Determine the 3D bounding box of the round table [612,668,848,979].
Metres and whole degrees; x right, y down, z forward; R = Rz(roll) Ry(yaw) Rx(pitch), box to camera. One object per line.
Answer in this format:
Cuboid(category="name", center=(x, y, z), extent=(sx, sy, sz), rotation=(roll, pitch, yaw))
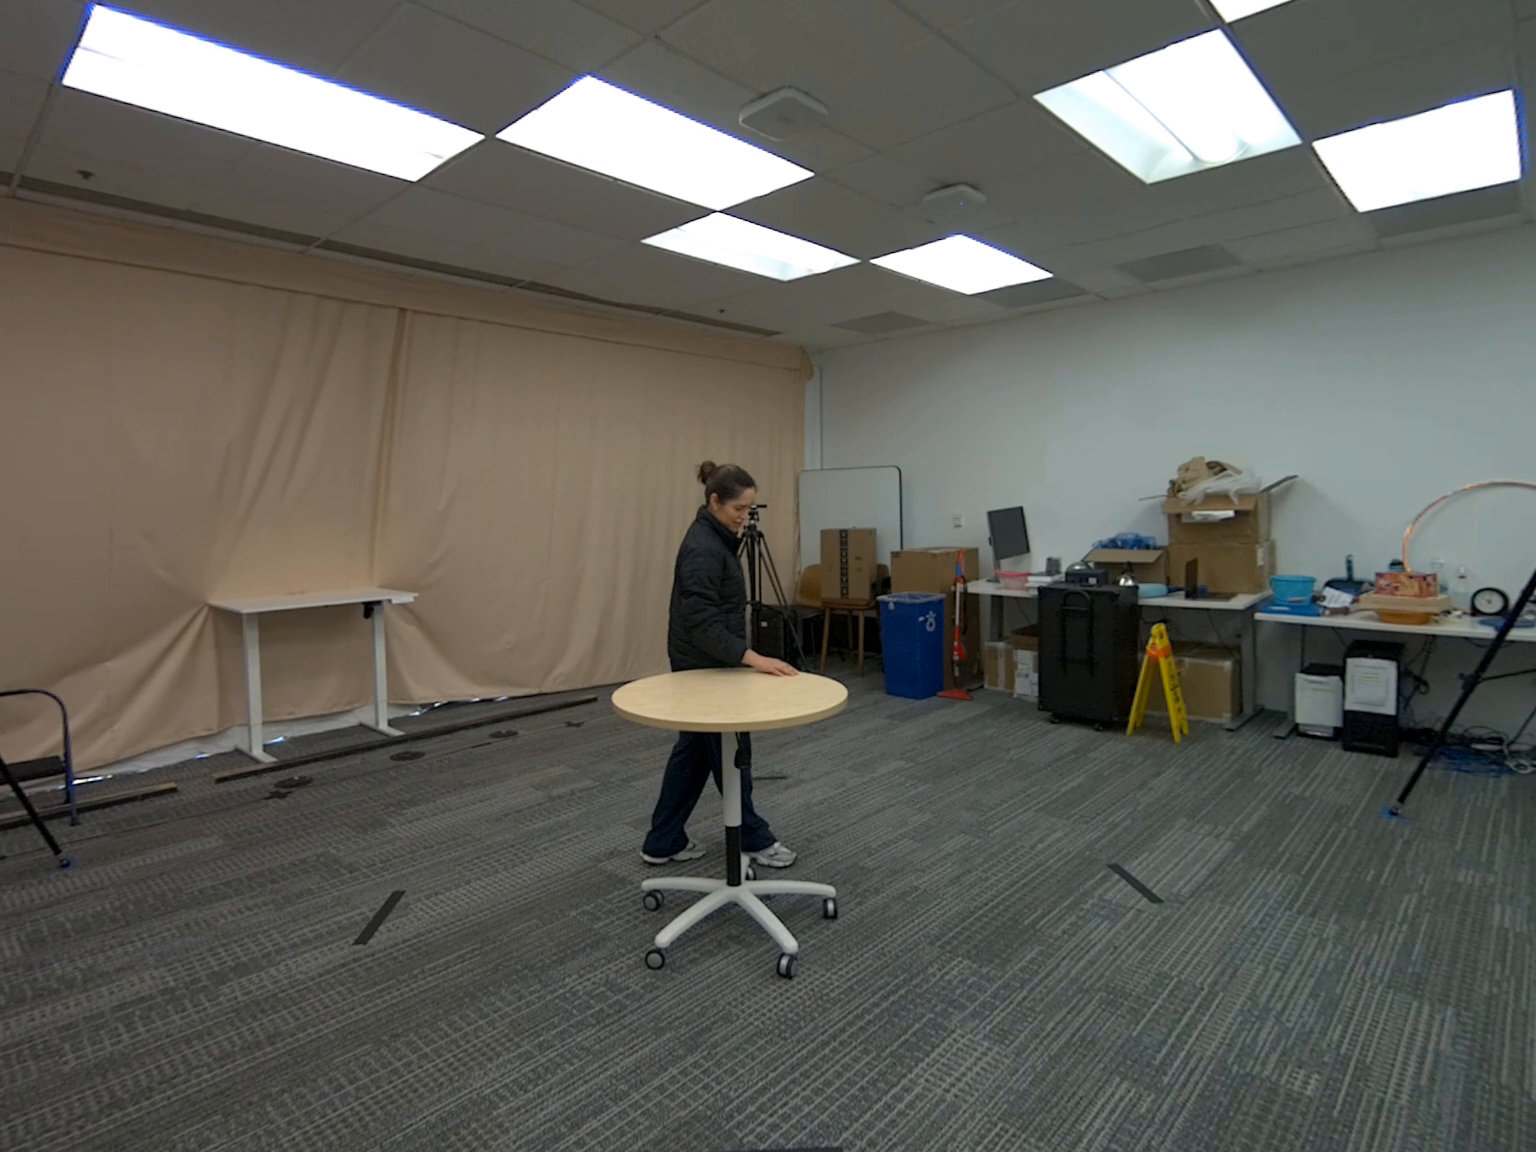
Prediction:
Cuboid(category="round table", center=(-0.113, 0.764, 2.782), extent=(0.784, 0.785, 0.788), rotation=(-1, 4, -2))
